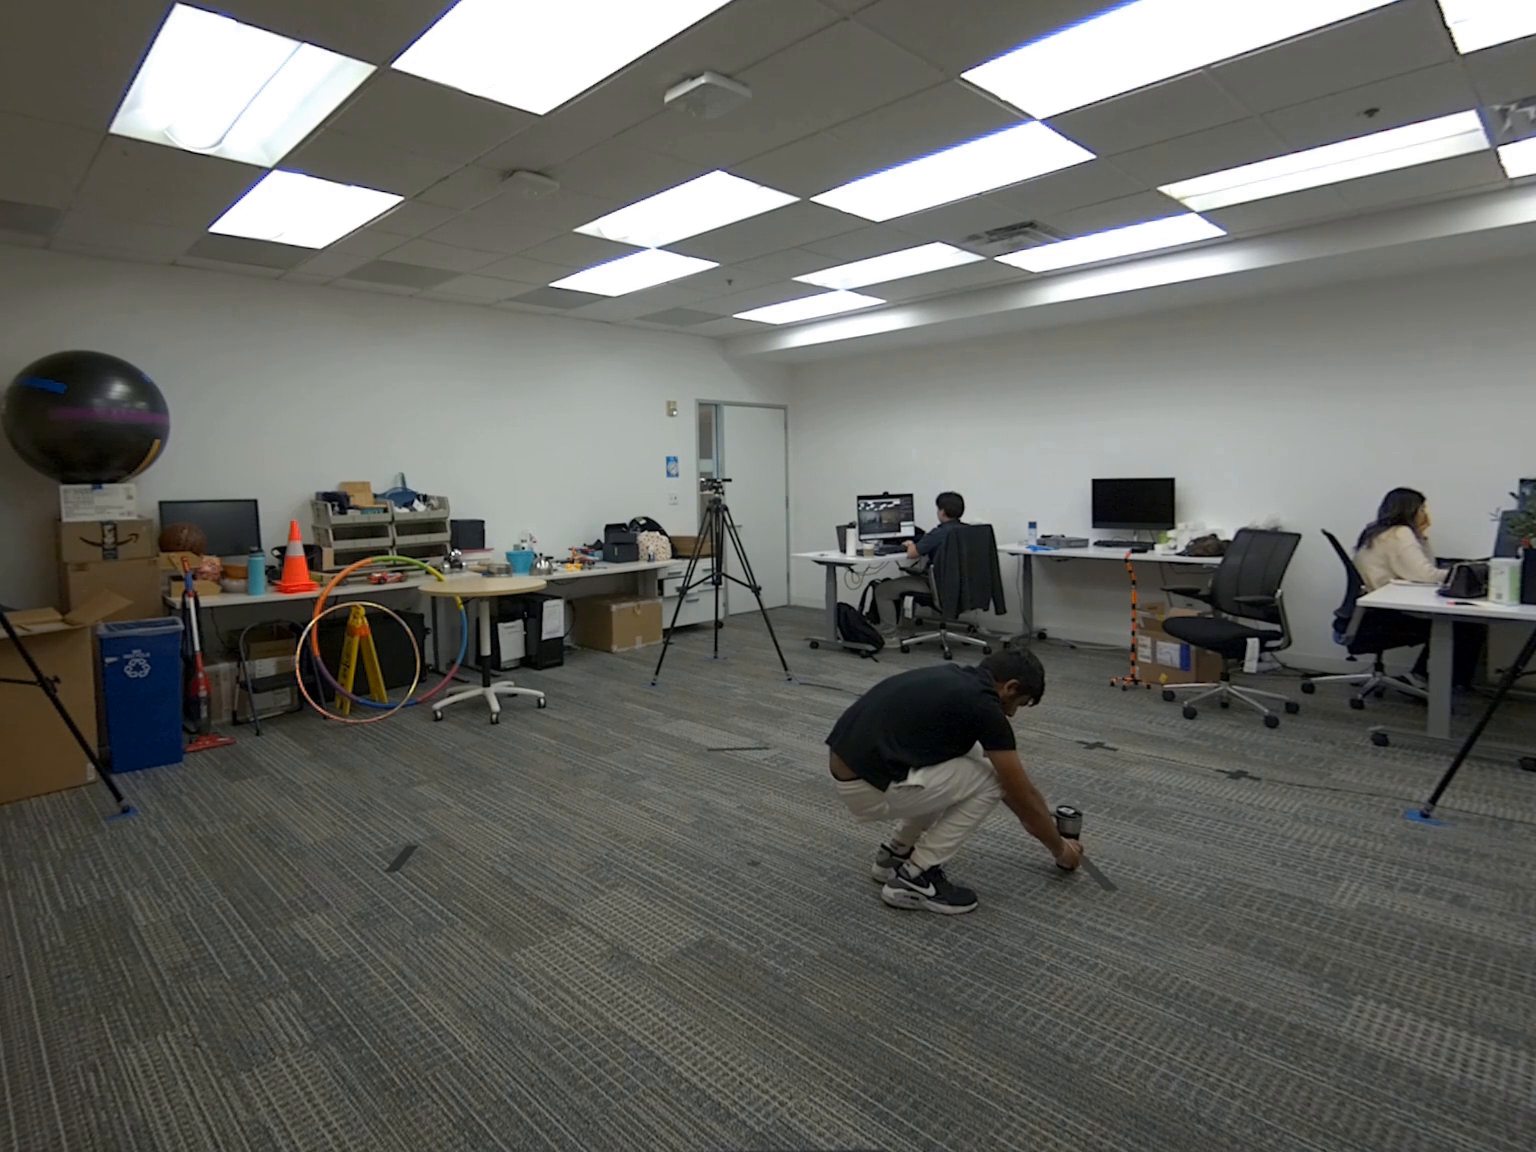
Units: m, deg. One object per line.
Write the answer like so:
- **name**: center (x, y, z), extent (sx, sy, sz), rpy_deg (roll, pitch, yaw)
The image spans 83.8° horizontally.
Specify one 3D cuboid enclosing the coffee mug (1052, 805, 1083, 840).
- **coffee mug**: center (1.034, 0.917, 3.004), extent (0.125, 0.202, 0.086), rpy_deg (7, 8, 31)
